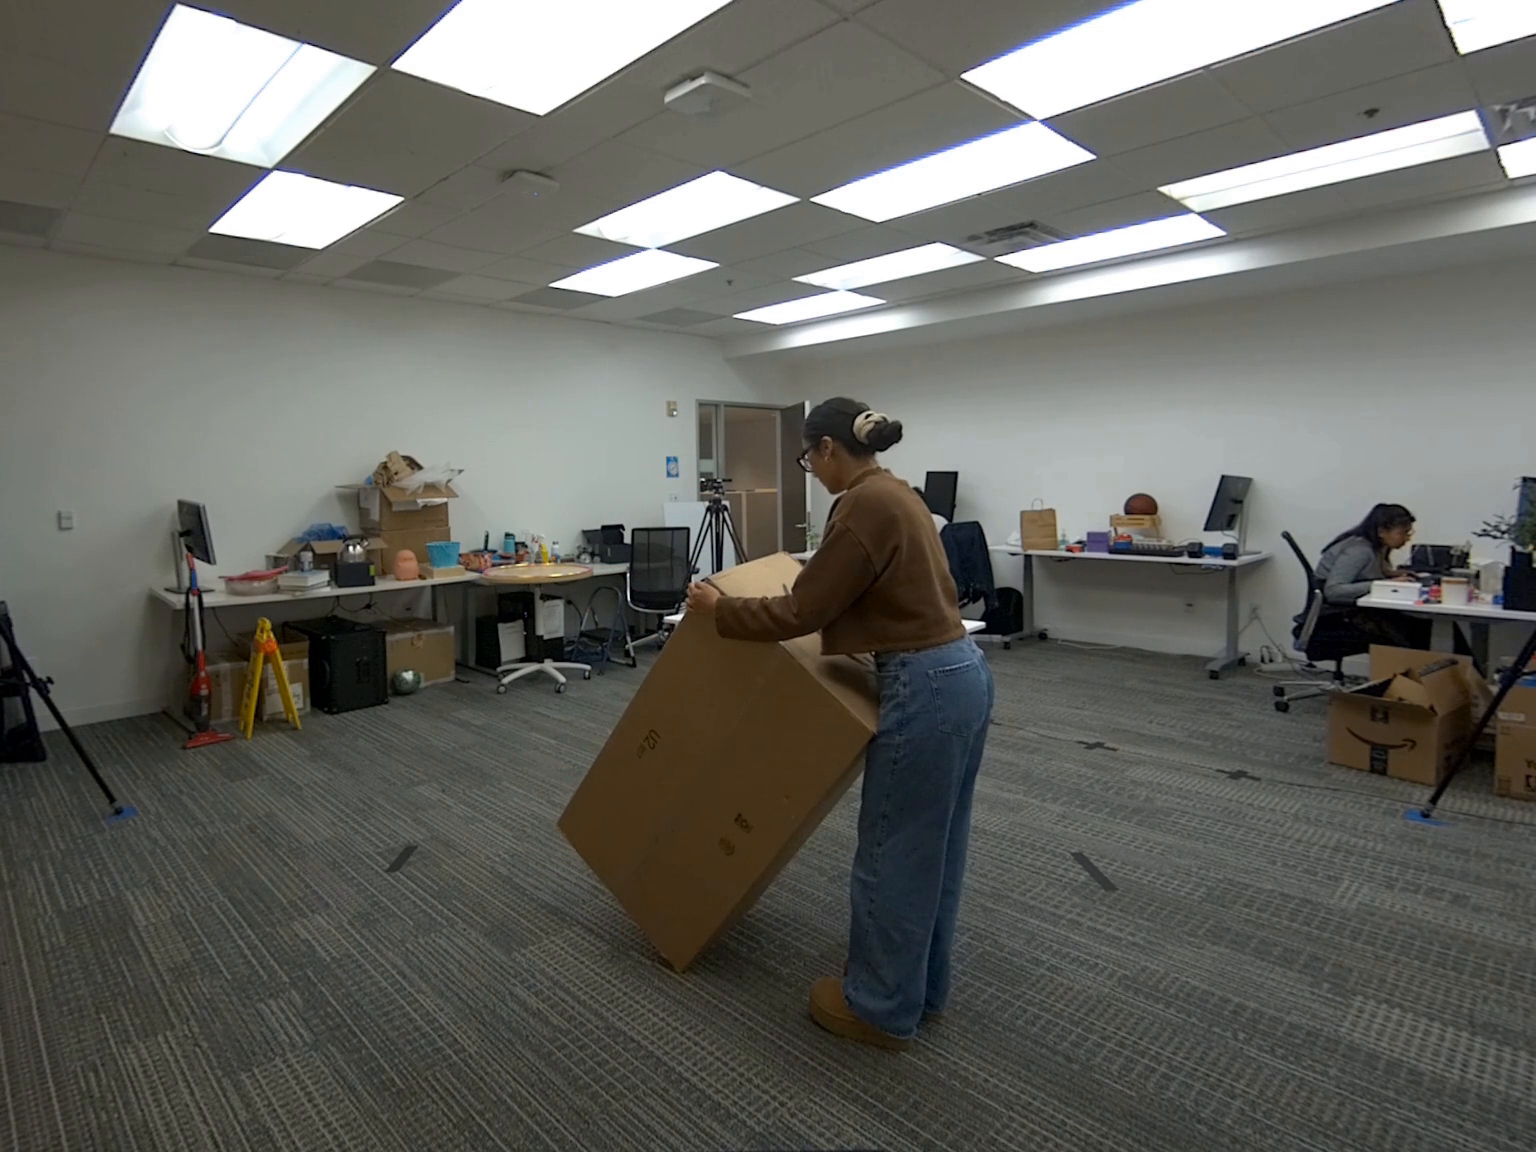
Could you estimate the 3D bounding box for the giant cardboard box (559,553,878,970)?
[{"bbox_3d":[-0.100,0.536,2.481,0.592,1.020,0.418,42,27,19],"label":"giant cardboard box"}]
